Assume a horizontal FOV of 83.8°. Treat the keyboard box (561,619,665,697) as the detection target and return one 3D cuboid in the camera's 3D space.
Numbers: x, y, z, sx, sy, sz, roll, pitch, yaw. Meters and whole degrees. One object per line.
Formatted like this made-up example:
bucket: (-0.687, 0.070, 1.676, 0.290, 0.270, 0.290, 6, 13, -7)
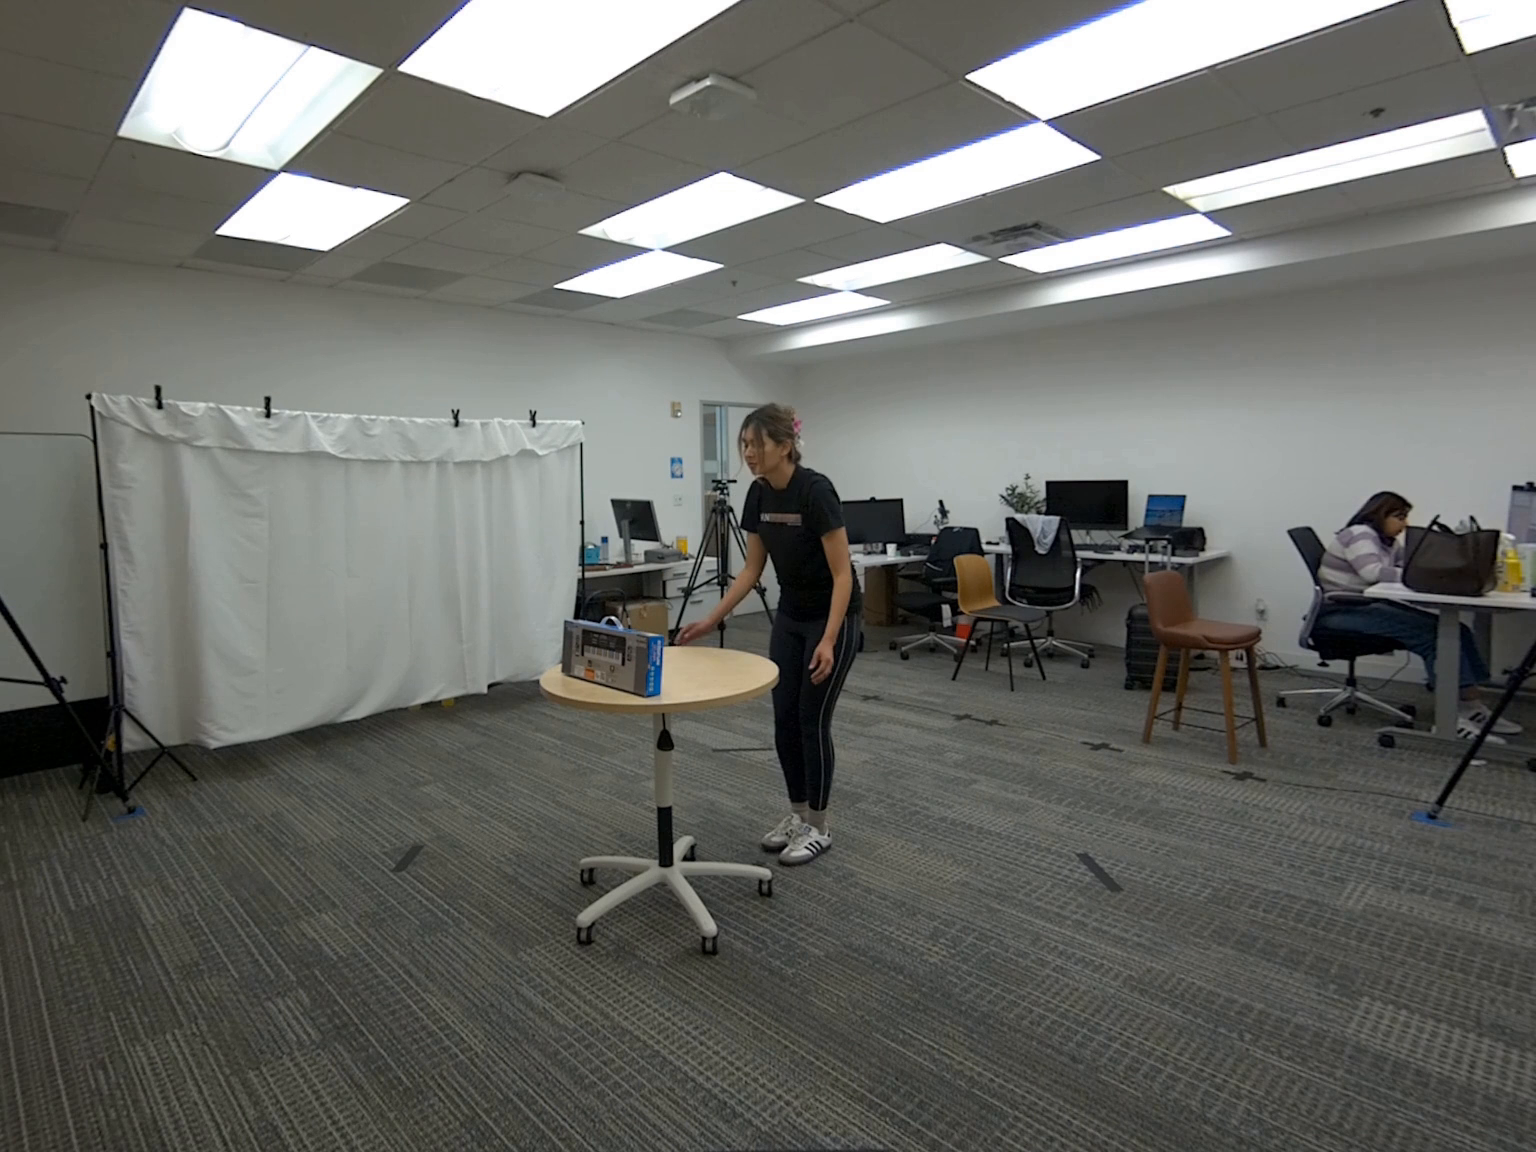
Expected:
keyboard box: (-0.482, 0.245, 2.615, 0.450, 0.176, 0.057, 5, 2, 44)
